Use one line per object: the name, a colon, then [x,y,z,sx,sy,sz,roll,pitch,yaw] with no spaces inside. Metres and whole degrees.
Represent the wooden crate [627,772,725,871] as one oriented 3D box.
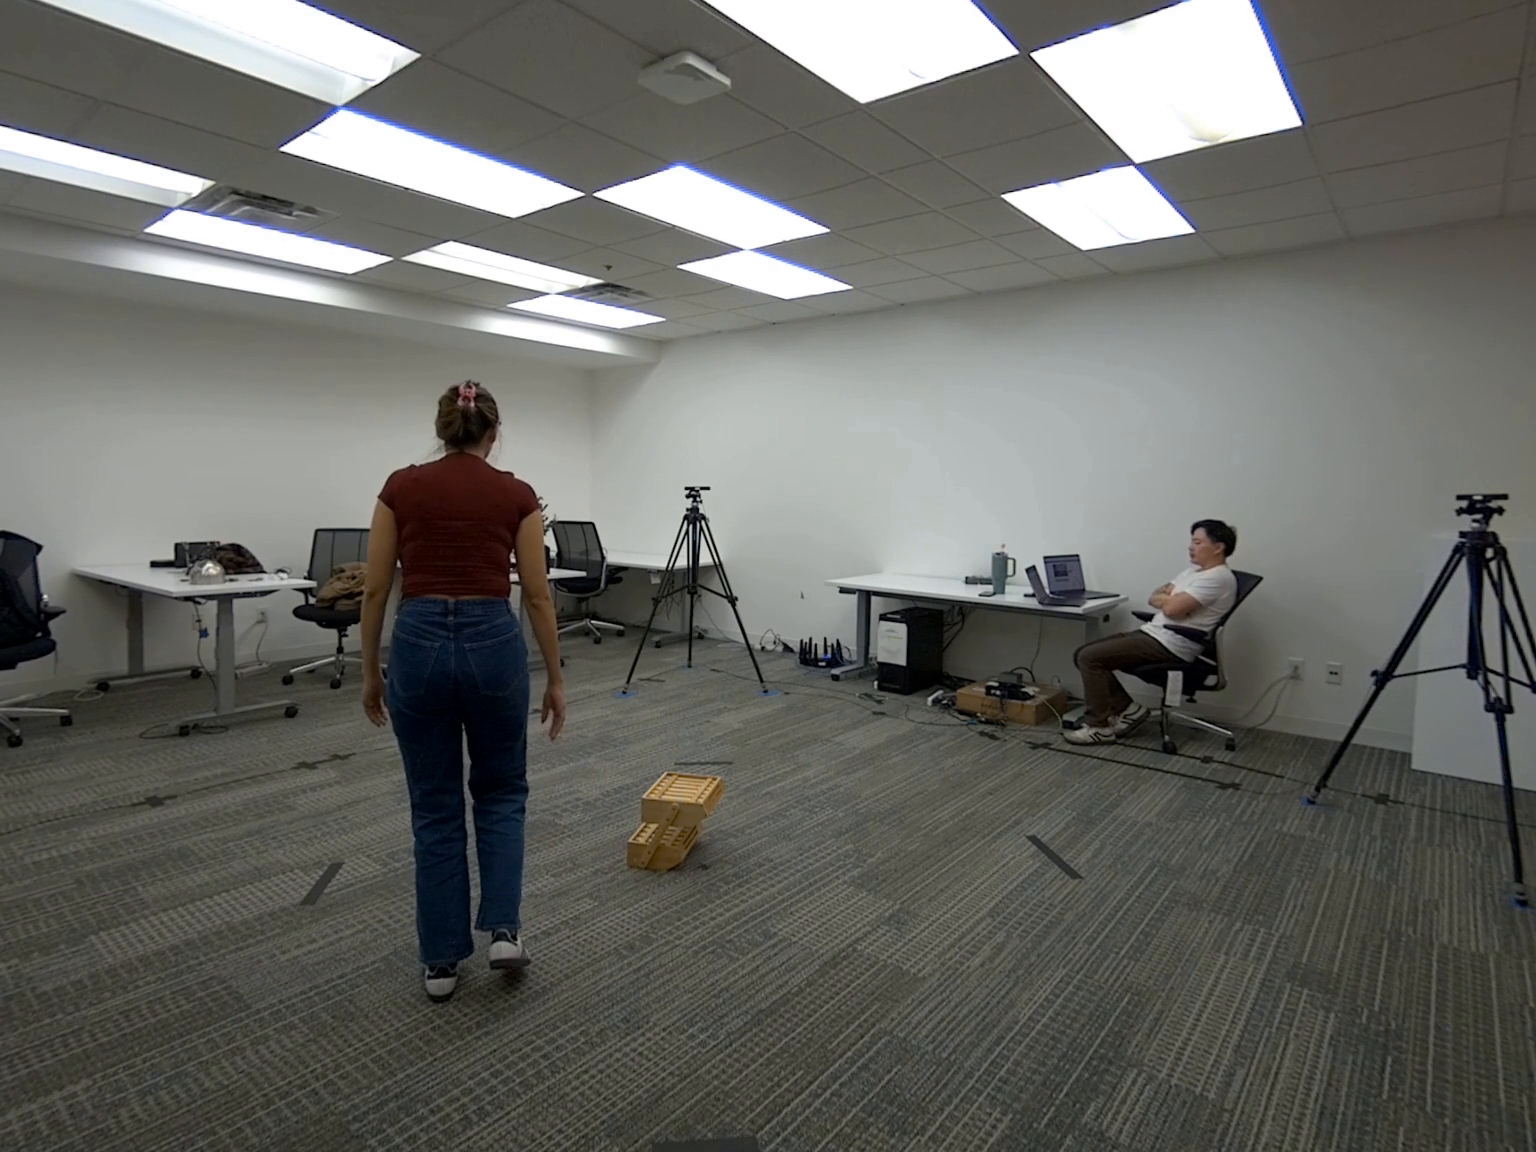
wooden crate: [-0.350,0.924,3.220,0.306,0.272,0.321,2,4,11]
